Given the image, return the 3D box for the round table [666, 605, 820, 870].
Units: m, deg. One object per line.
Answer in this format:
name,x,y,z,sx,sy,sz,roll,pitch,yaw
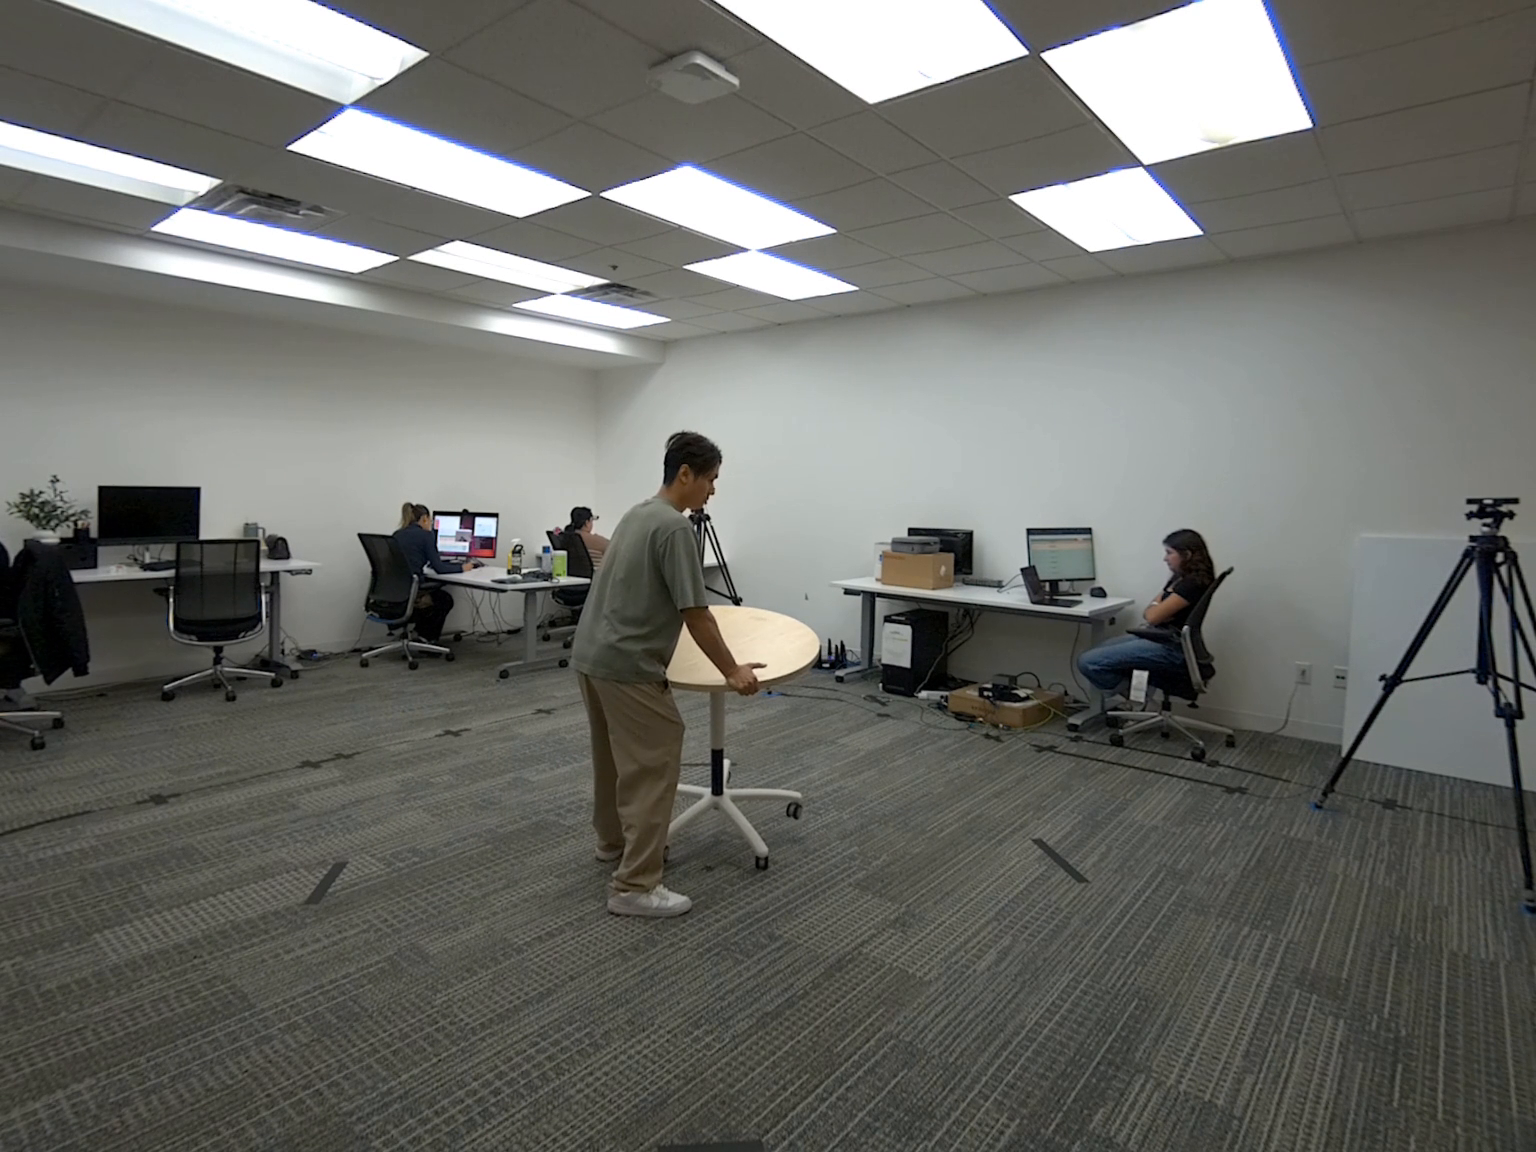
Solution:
round table,-0.200,0.608,3.303,0.784,0.775,0.798,0,16,-2
